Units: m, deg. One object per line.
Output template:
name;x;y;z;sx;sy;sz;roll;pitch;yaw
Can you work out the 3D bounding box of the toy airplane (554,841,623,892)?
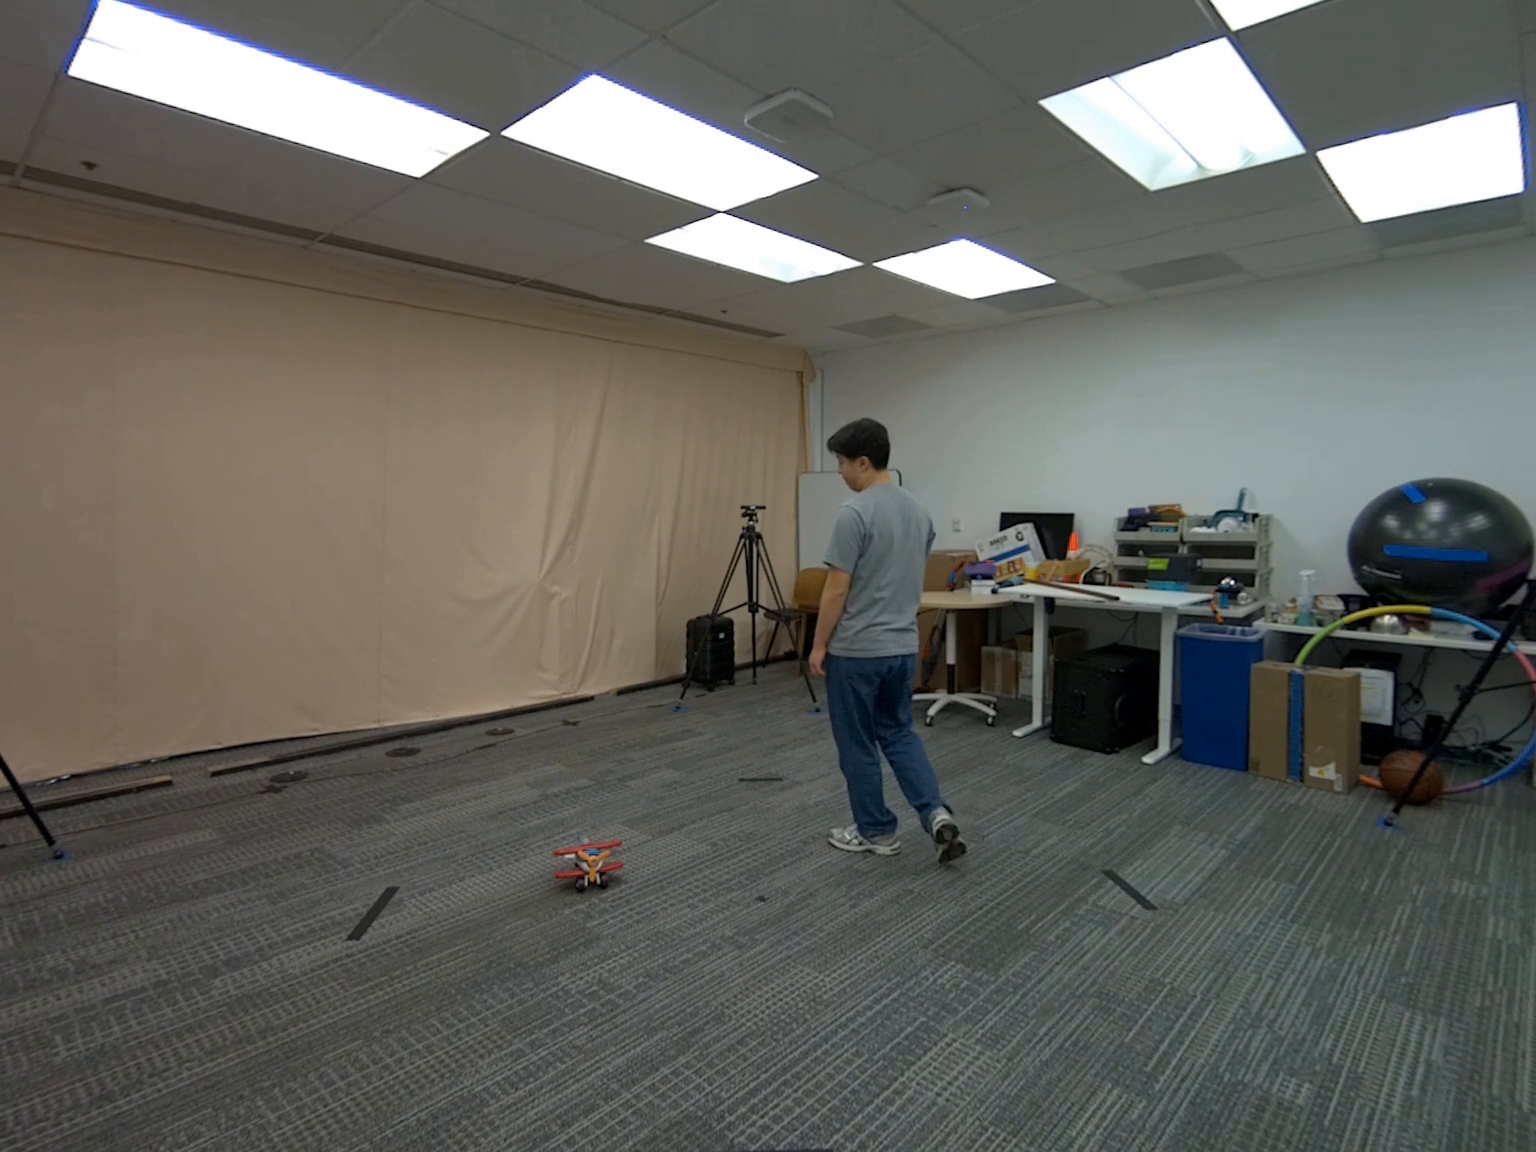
toy airplane;-0.698;1.067;3.132;0.268;0.156;0.243;4;5;39
